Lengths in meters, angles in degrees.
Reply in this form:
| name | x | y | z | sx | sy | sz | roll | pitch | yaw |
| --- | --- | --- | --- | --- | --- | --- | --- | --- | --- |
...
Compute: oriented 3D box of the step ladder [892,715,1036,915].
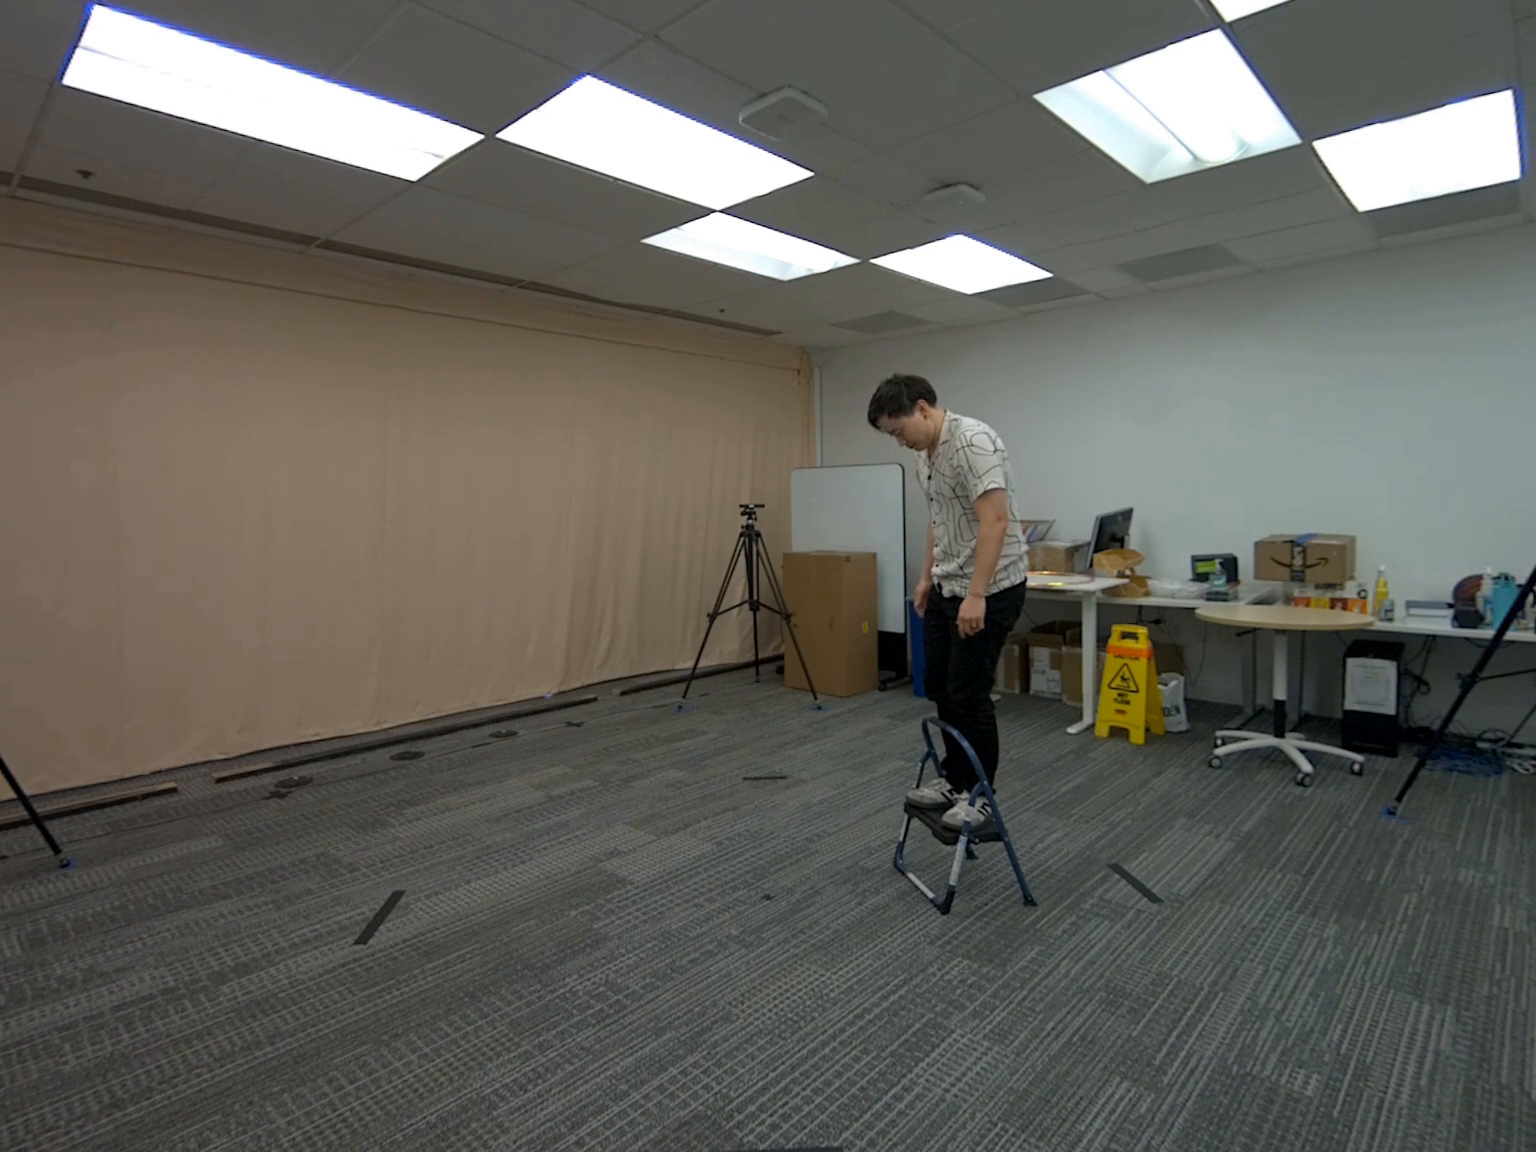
| name | x | y | z | sx | sy | sz | roll | pitch | yaw |
| --- | --- | --- | --- | --- | --- | --- | --- | --- | --- |
| step ladder | 0.700 | 0.822 | 3.046 | 0.344 | 0.605 | 0.438 | -1 | 4 | -15 |
